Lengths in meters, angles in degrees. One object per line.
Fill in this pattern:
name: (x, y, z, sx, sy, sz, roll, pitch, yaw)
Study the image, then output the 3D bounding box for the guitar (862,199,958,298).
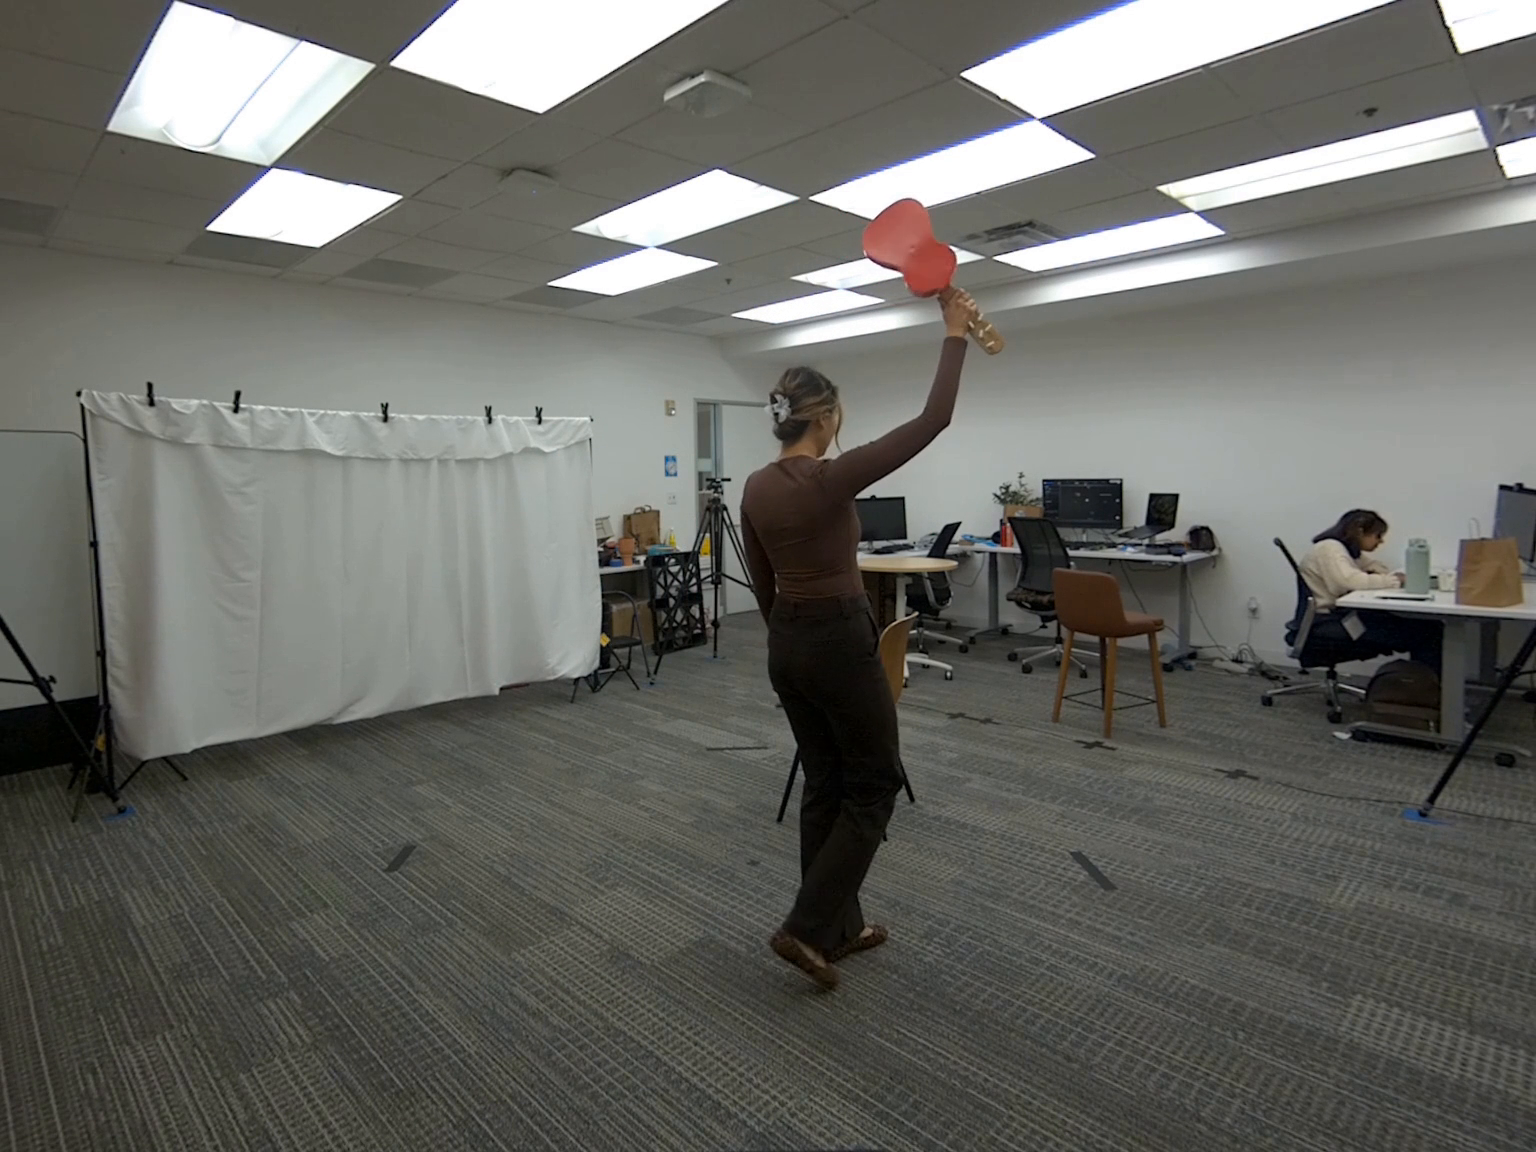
guitar: (0.496, -0.826, 2.334, 0.504, 0.193, 0.070, 44, 11, 9)
